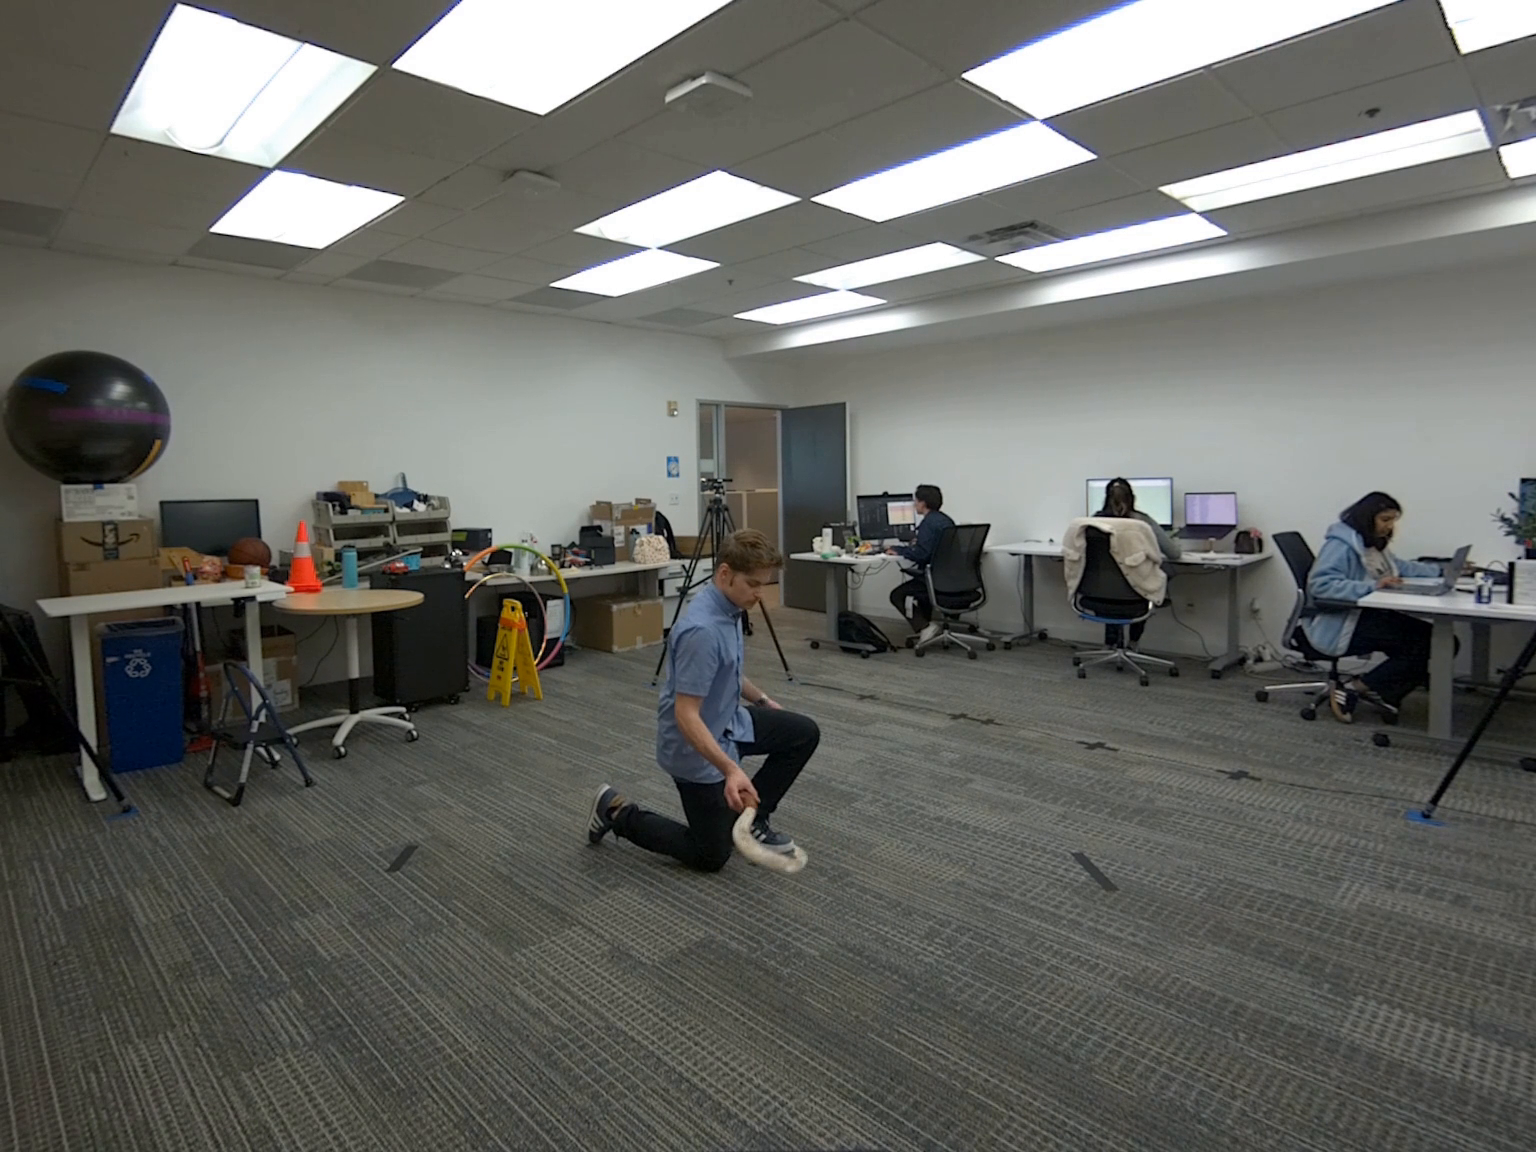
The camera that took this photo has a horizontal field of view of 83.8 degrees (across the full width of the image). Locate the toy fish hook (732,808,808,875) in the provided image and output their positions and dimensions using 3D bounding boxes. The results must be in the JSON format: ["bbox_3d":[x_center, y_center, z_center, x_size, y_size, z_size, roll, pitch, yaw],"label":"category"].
[{"bbox_3d":[0.014,0.731,2.506,0.223,0.048,0.510,27,4,-6],"label":"toy fish hook"}]
